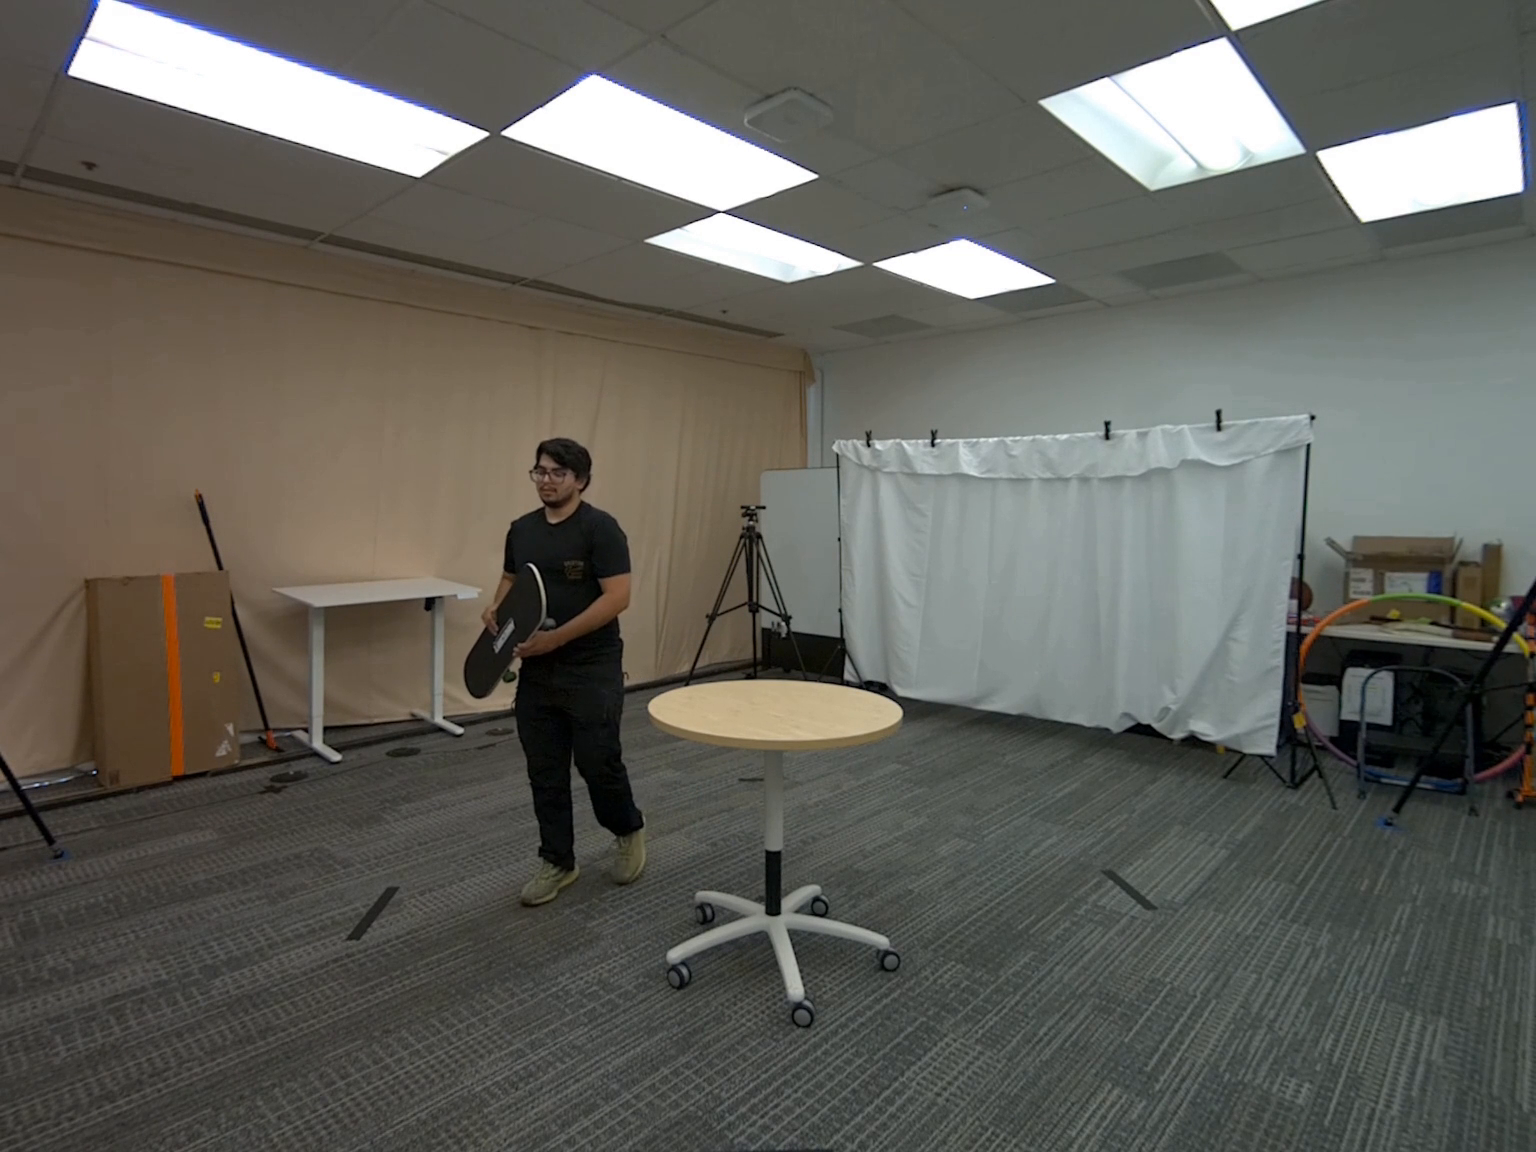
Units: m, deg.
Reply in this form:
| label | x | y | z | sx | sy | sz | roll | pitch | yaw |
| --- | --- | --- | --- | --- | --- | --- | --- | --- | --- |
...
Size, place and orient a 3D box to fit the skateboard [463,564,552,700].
| label | x | y | z | sx | sy | sz | roll | pitch | yaw |
| --- | --- | --- | --- | --- | --- | --- | --- | --- | --- |
| skateboard | -0.873 | 0.208 | 2.913 | 0.107 | 0.197 | 0.791 | -8 | -27 | -41 |
